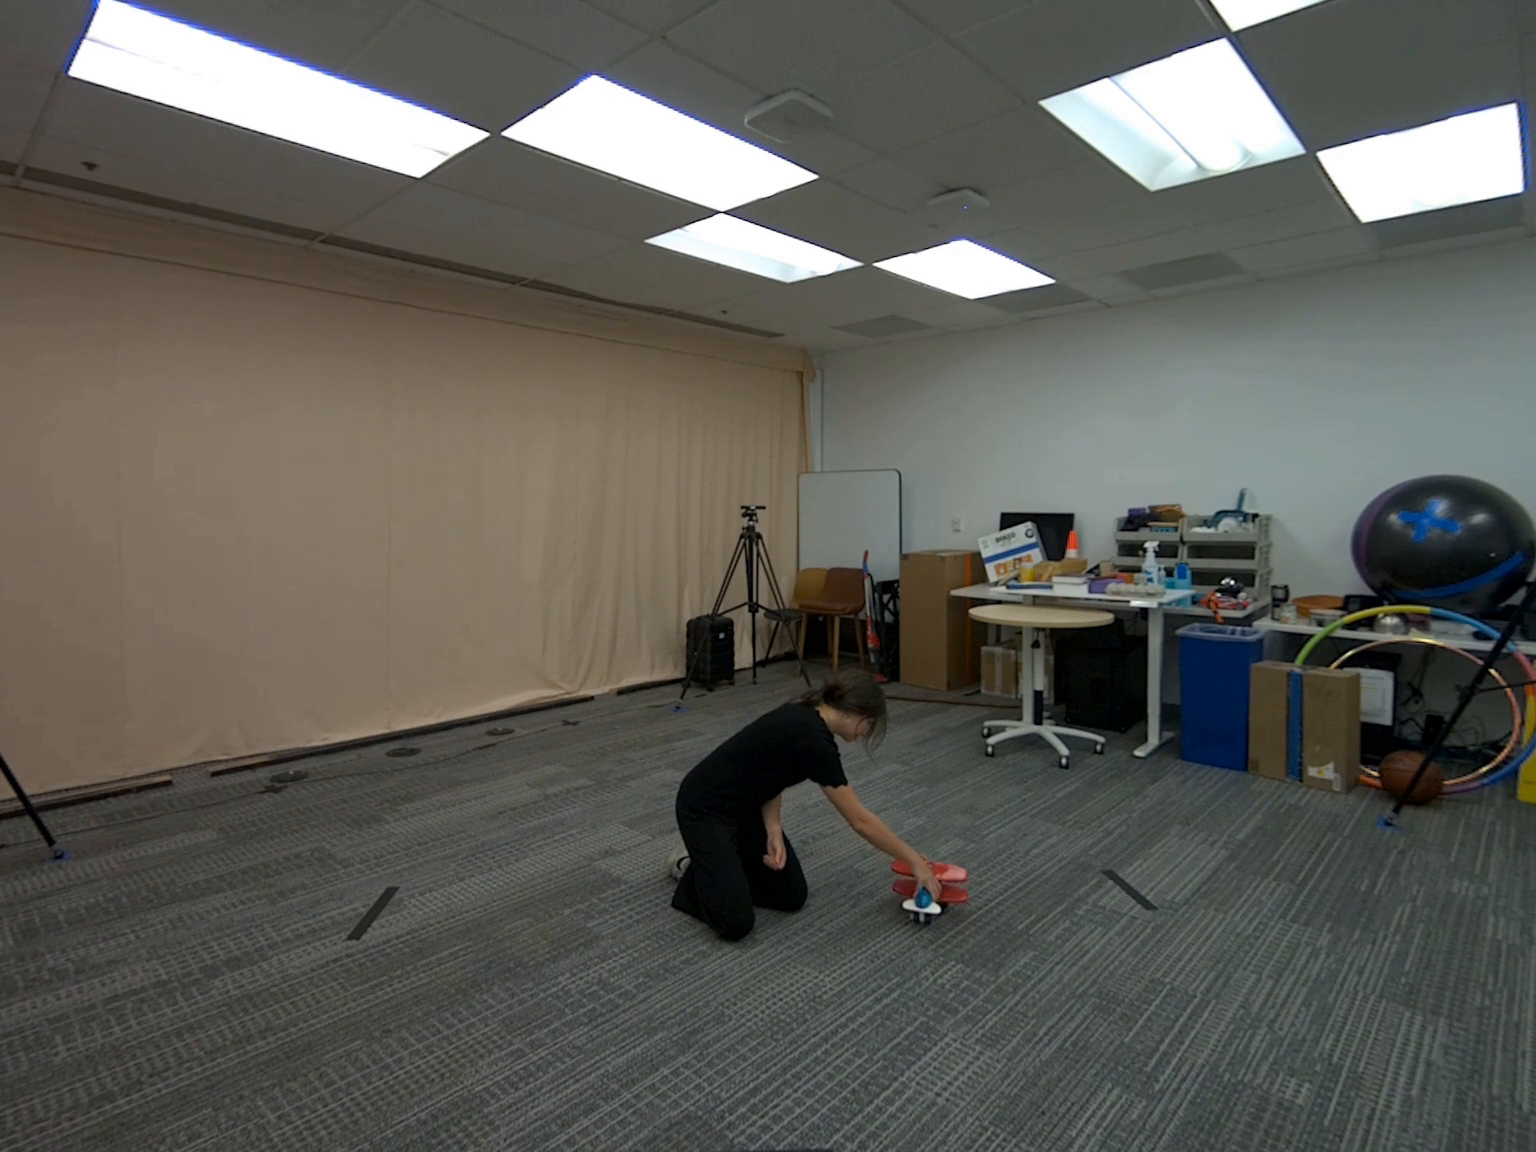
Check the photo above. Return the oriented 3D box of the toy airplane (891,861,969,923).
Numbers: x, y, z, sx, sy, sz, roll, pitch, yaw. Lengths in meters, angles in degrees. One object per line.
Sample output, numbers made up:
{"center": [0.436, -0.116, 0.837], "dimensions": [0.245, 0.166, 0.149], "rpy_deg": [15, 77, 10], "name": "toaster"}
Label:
{"center": [0.568, 1.075, 2.842], "dimensions": [0.249, 0.156, 0.261], "rpy_deg": [1, -1, -7], "name": "toy airplane"}
